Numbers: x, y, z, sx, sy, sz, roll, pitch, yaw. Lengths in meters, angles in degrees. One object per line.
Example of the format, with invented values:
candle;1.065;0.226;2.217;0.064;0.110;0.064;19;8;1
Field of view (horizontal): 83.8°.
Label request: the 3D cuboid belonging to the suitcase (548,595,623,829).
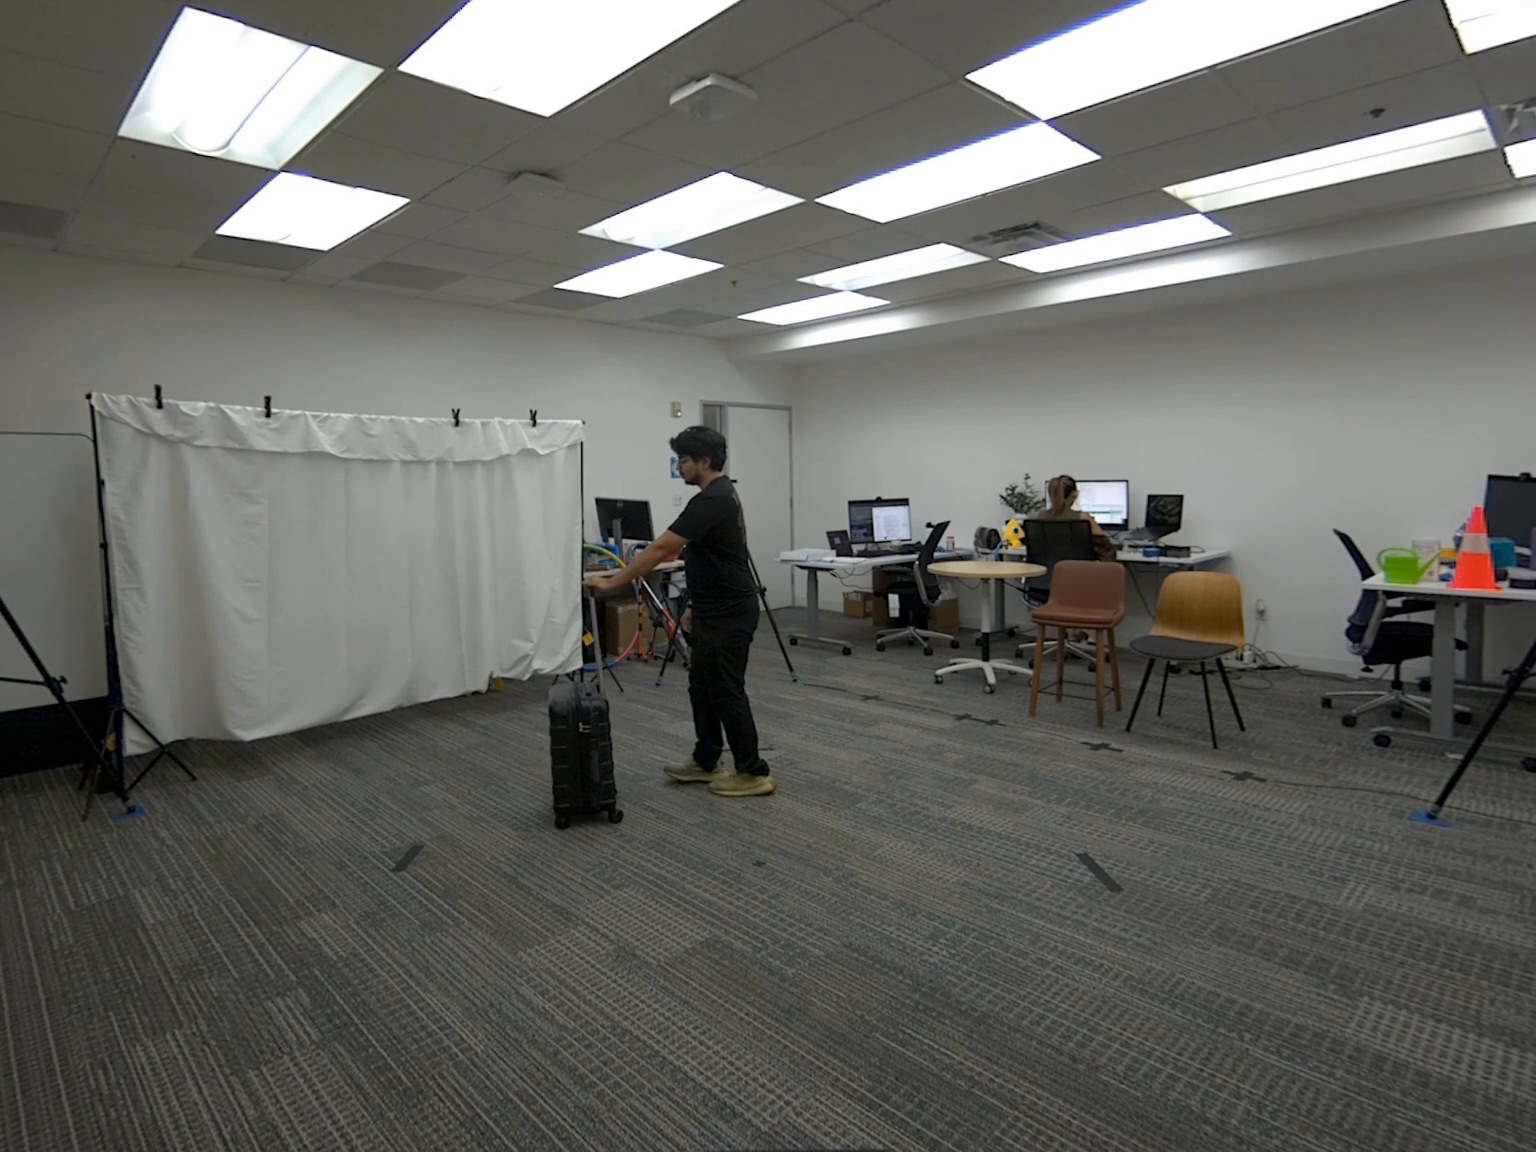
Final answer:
suitcase;-0.800;0.529;3.583;0.255;0.974;0.389;-5;5;-11
